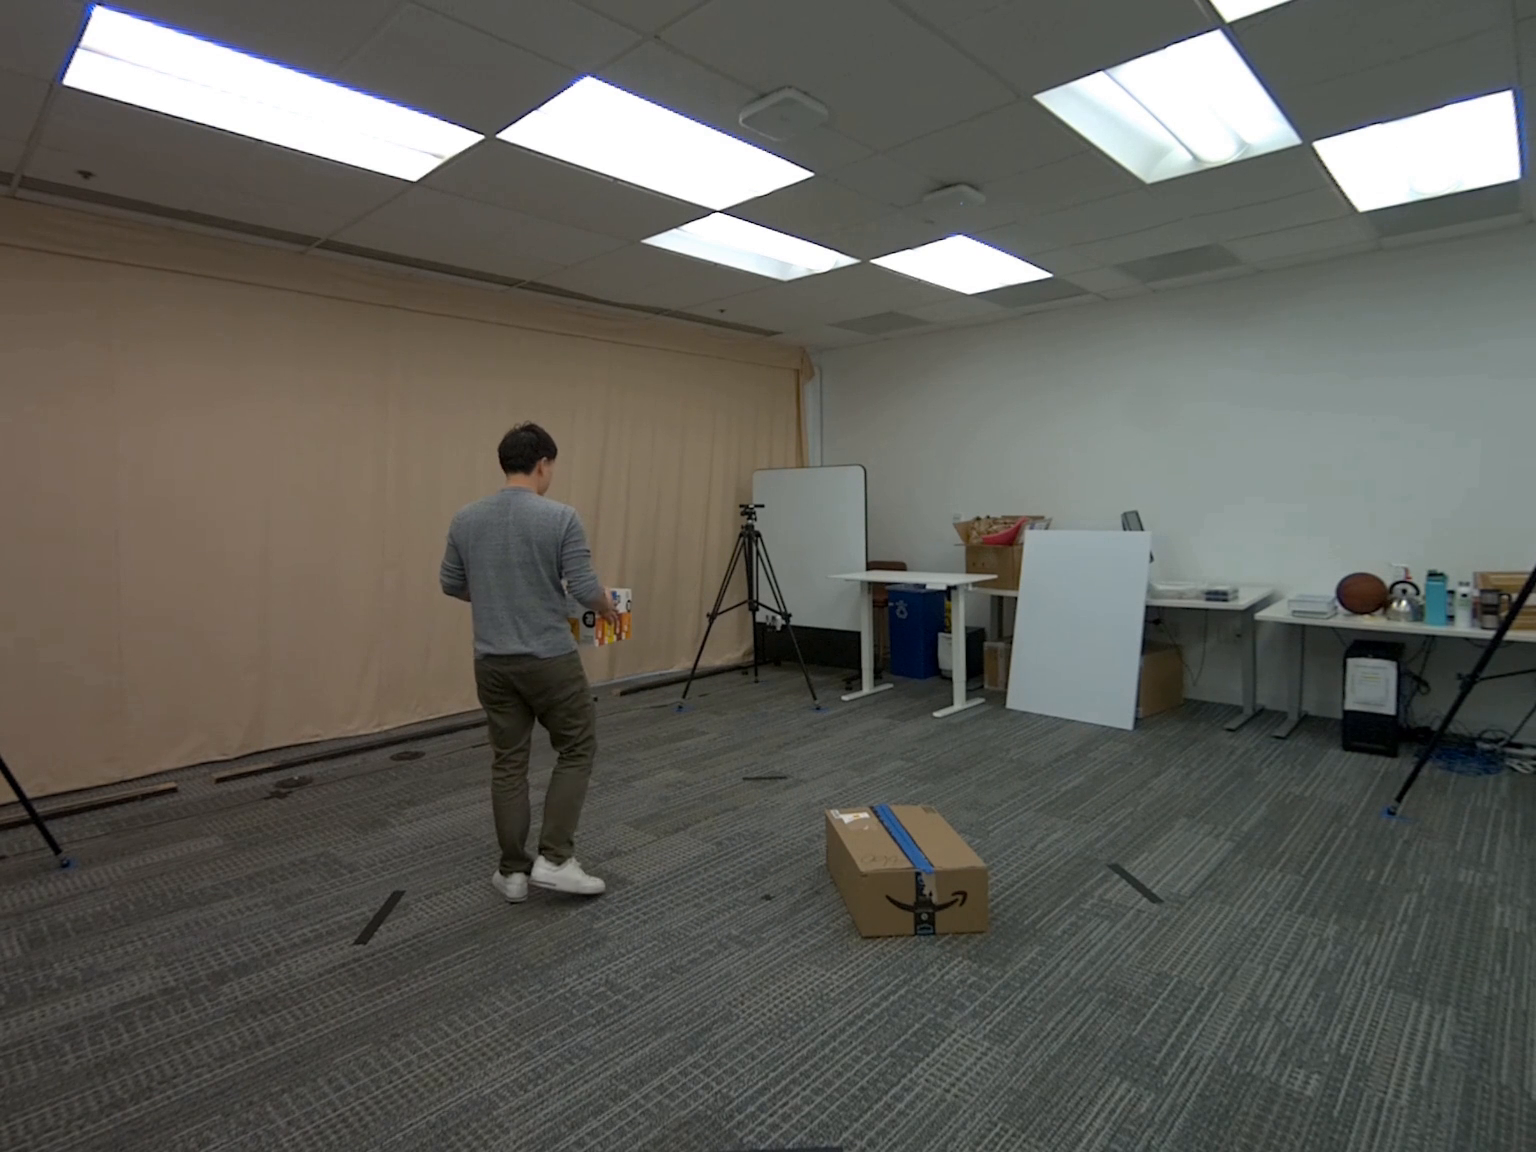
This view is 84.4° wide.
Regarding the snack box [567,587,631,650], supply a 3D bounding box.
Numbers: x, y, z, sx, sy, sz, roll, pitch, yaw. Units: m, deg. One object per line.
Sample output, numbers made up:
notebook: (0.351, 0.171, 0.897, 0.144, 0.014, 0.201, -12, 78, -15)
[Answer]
snack box: (-0.801, 0.157, 3.369, 0.412, 0.205, 0.335, 1, 2, 15)
